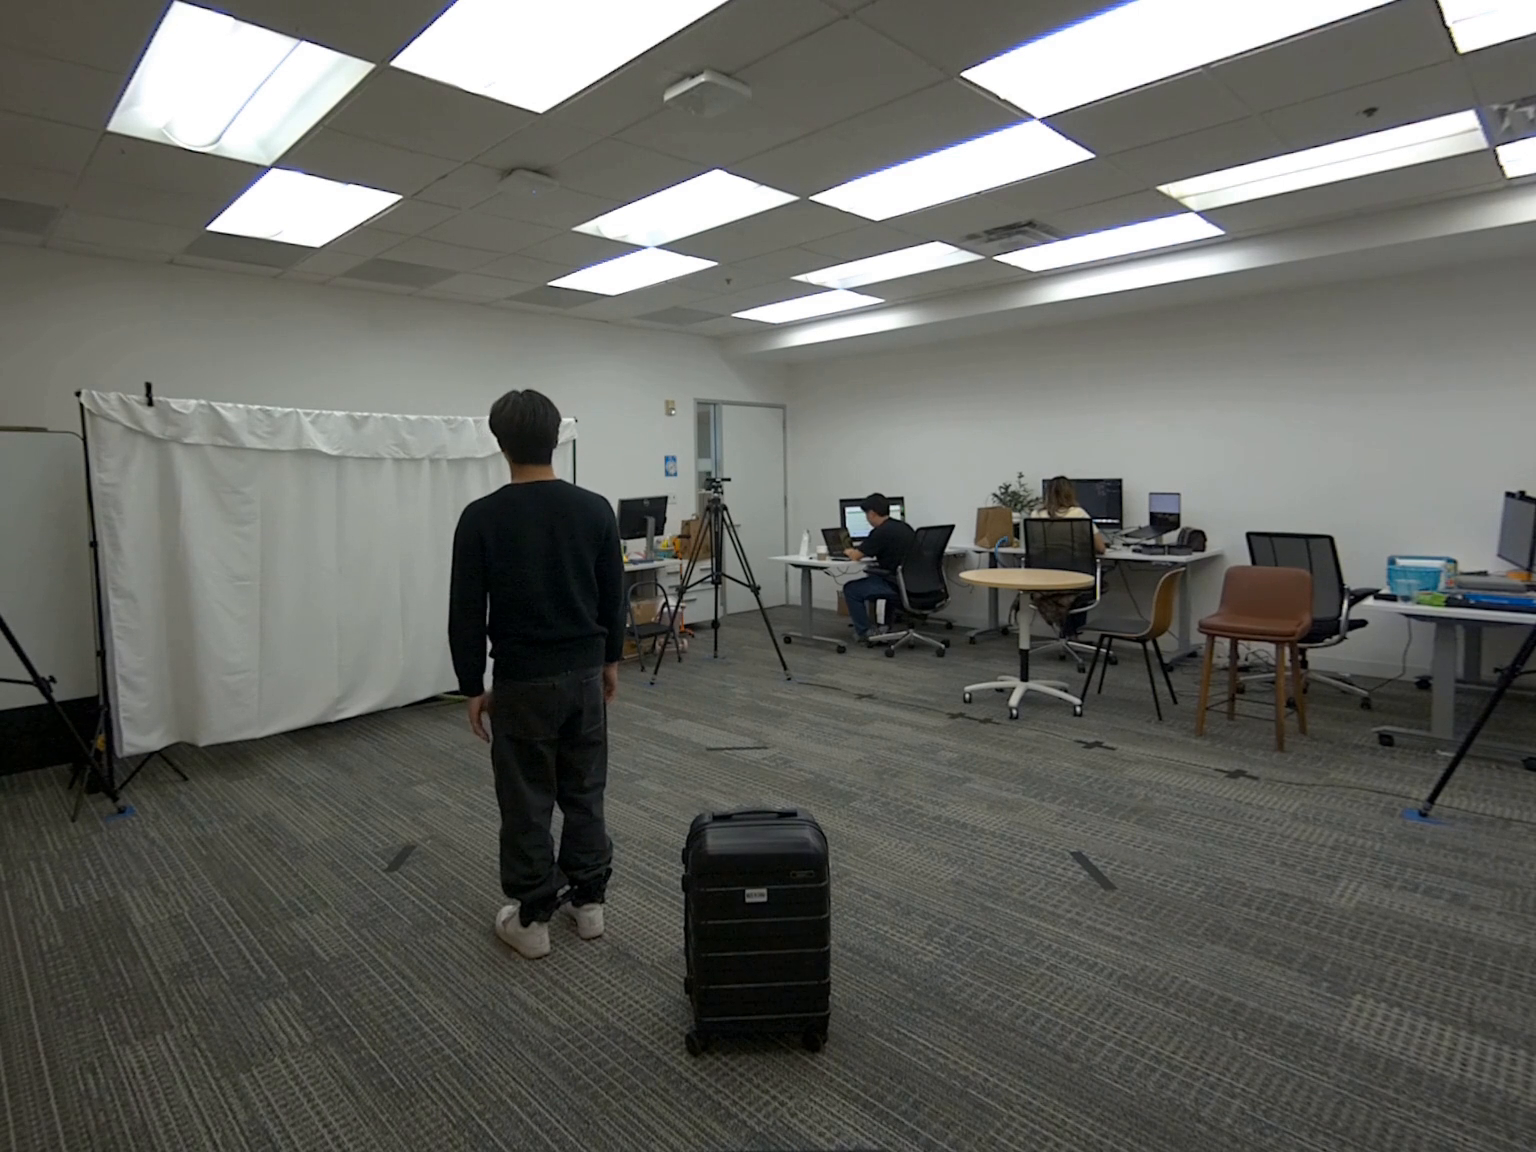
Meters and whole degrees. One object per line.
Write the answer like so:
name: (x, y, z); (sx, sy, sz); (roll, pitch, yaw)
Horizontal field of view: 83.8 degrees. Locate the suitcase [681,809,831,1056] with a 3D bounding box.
suitcase: (-0.018, 0.880, 2.158); (0.375, 0.546, 0.250); (-1, 6, -2)
